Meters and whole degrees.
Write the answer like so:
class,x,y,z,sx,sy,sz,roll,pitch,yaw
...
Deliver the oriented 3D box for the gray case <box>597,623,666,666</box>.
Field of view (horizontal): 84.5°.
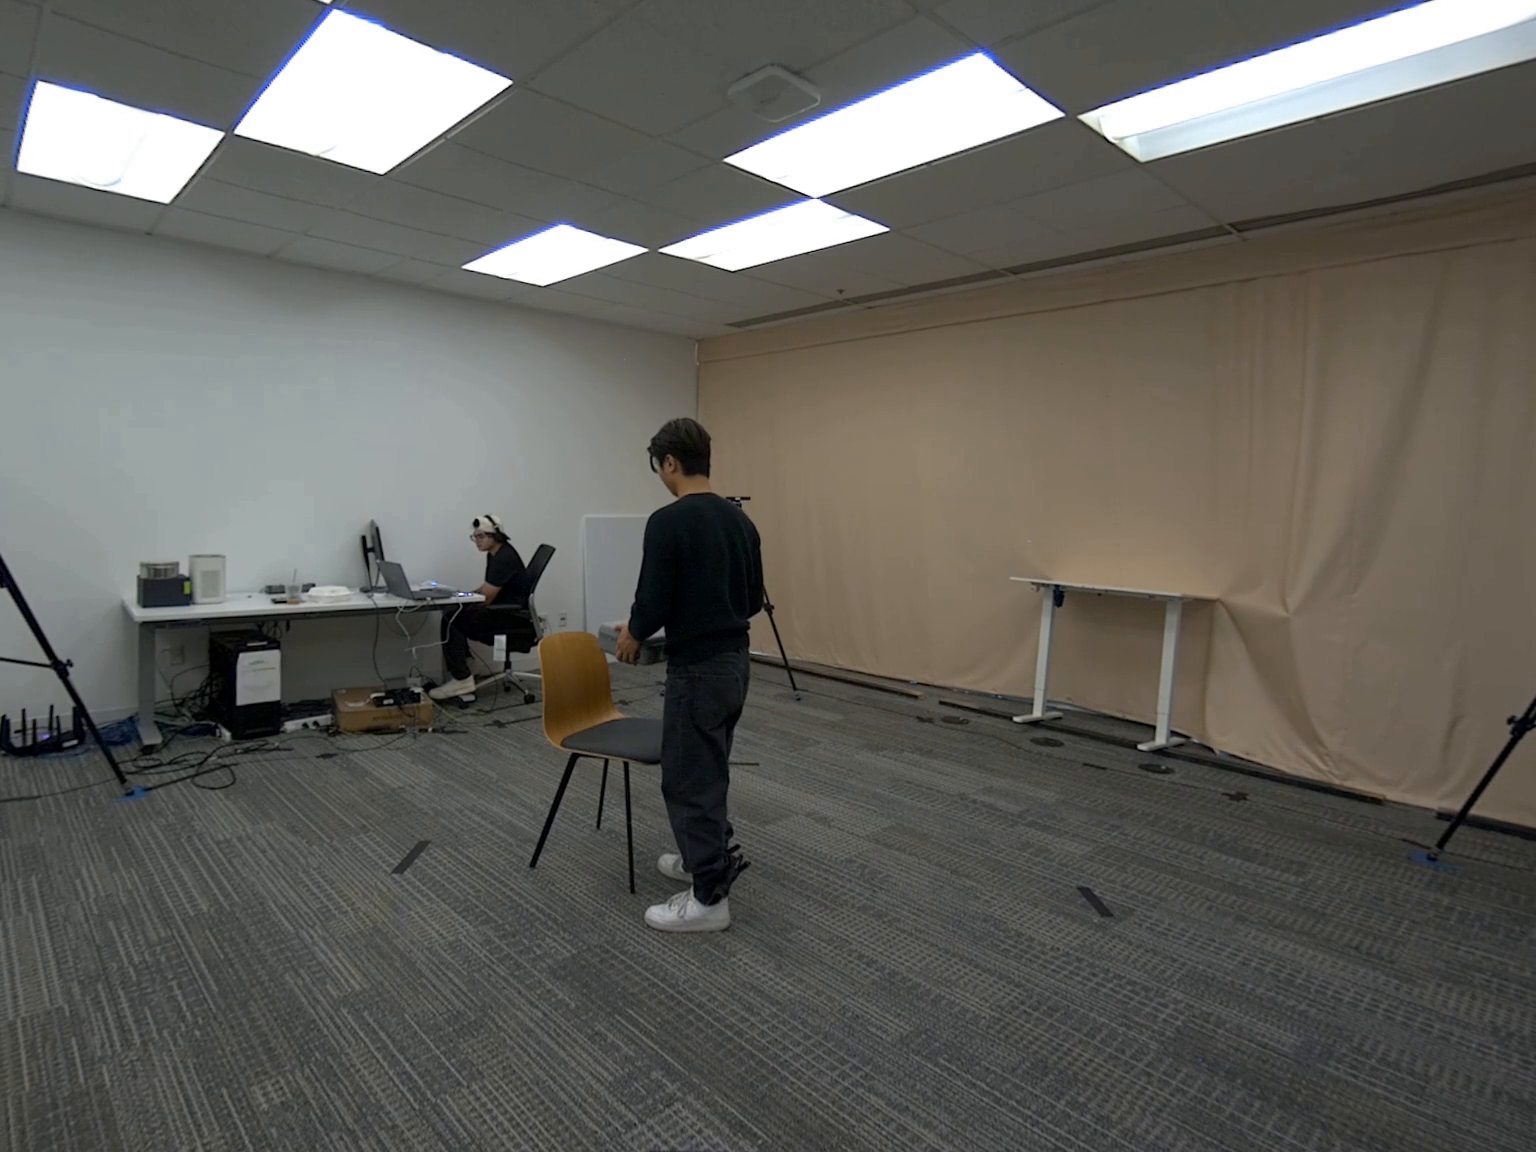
class,x,y,z,sx,sy,sz,roll,pitch,yaw
gray case,-0.453,0.230,3.035,0.267,0.104,0.251,12,11,35
